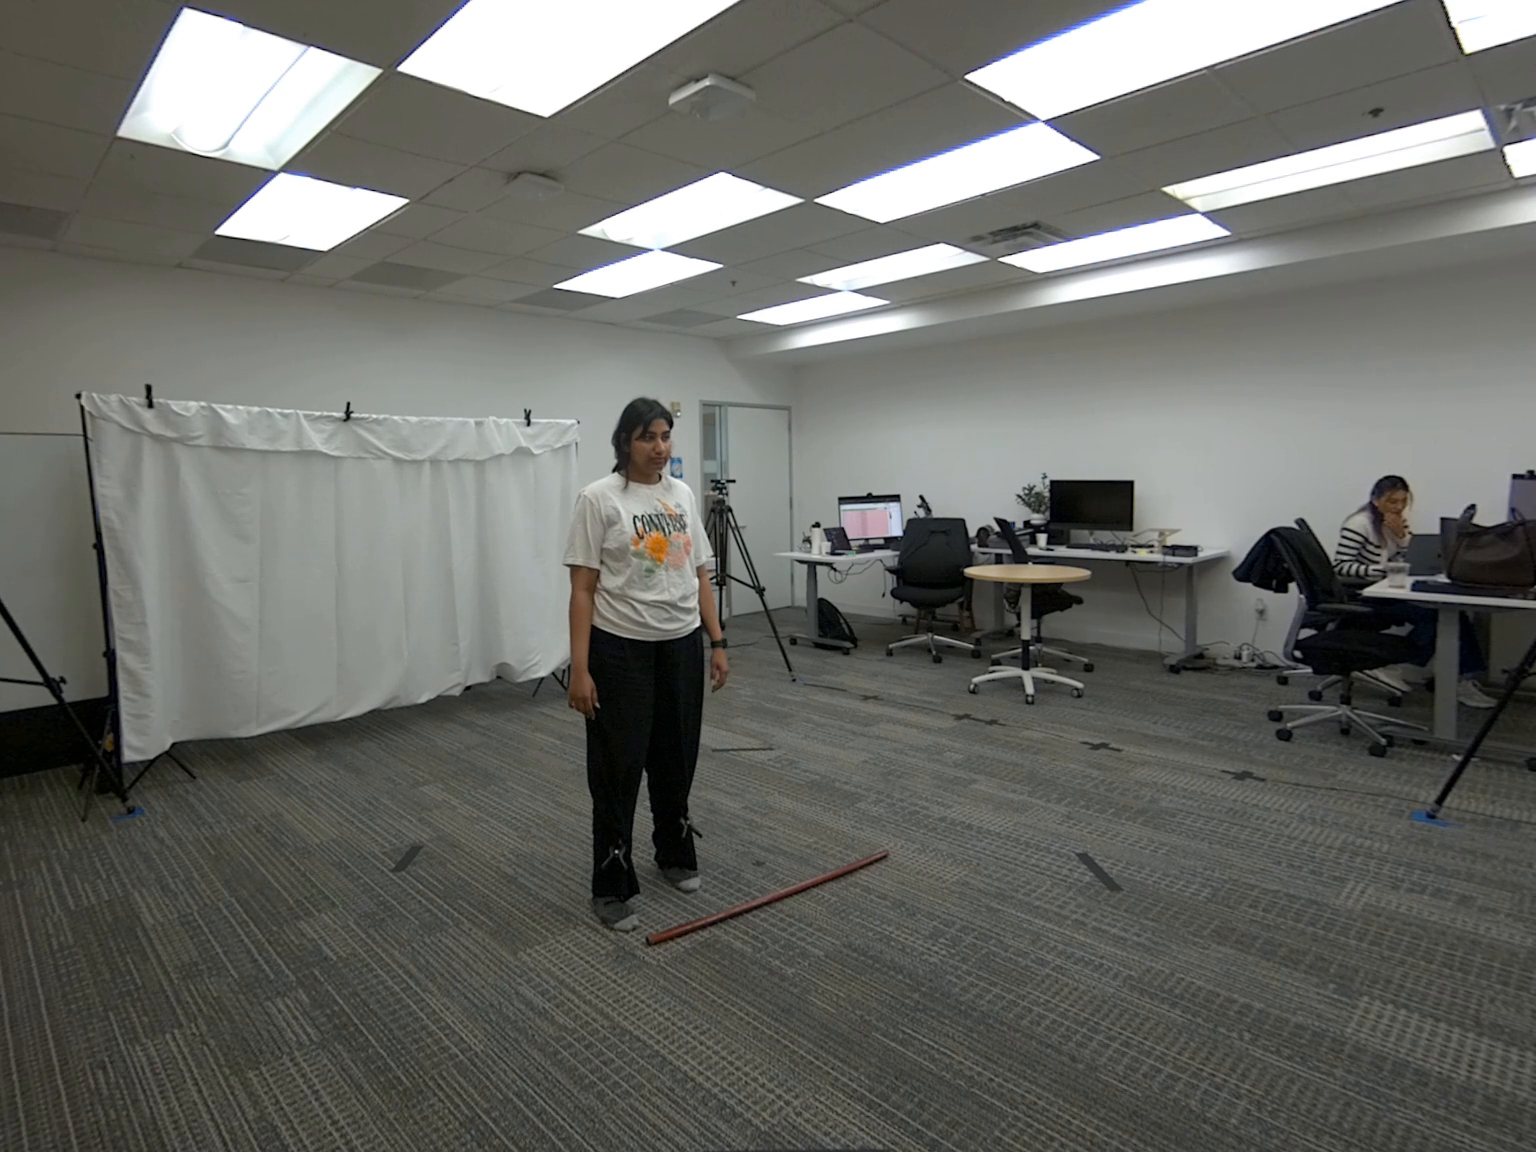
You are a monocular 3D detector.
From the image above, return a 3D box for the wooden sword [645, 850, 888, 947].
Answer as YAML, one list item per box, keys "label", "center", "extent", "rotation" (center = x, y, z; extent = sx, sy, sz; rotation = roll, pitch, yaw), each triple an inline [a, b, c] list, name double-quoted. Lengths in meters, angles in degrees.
- label: "wooden sword"
  center: [0.041, 1.049, 2.867]
  extent: [0.999, 0.025, 0.051]
  rotation: [-6, -25, -35]
